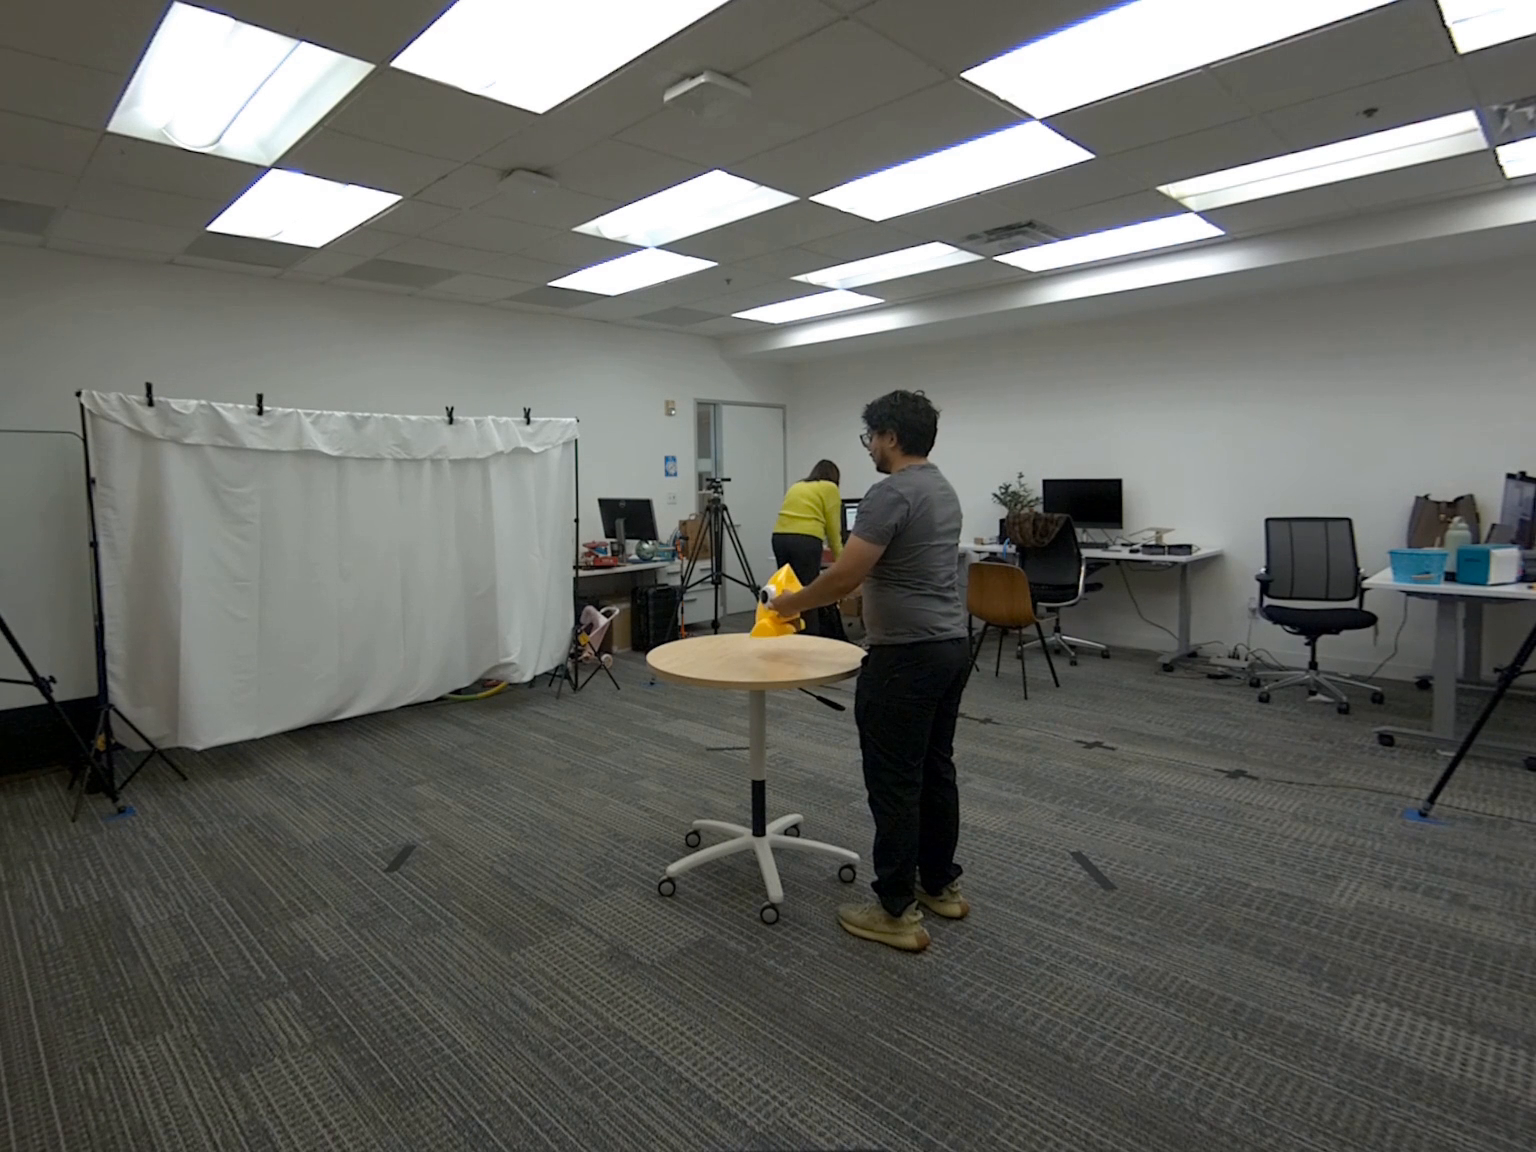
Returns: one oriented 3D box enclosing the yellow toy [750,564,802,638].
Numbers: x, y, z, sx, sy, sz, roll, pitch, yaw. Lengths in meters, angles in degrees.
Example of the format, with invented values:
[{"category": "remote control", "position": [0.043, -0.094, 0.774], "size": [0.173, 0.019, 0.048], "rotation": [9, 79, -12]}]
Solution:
[{"category": "yellow toy", "position": [0.034, 0.075, 2.933], "size": [0.197, 0.230, 0.201], "rotation": [-6, 3, 30]}]
